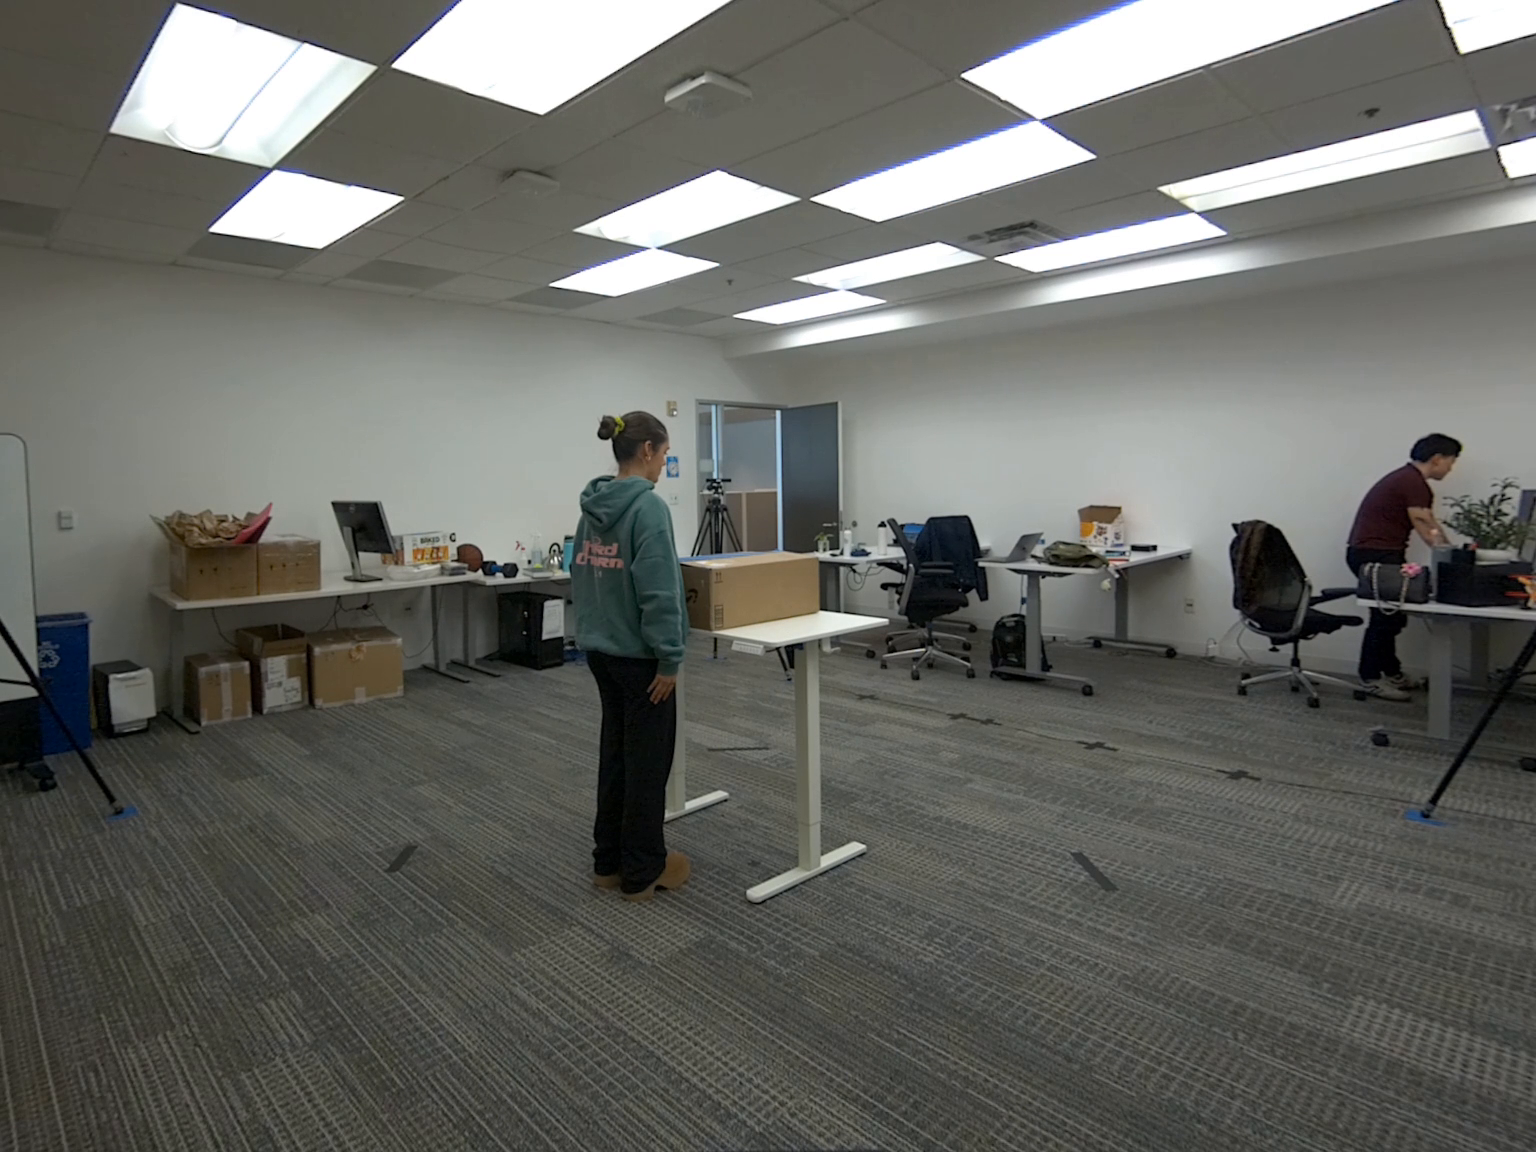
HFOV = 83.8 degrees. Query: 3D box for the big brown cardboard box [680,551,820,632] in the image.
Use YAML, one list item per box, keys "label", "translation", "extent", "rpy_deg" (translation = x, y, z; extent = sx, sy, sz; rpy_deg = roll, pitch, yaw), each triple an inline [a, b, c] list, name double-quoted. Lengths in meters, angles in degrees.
- label: "big brown cardboard box"
  translation: [-0.145, 0.041, 3.215]
  extent: [0.430, 0.232, 0.573]
  rpy_deg: [4, 7, 45]
